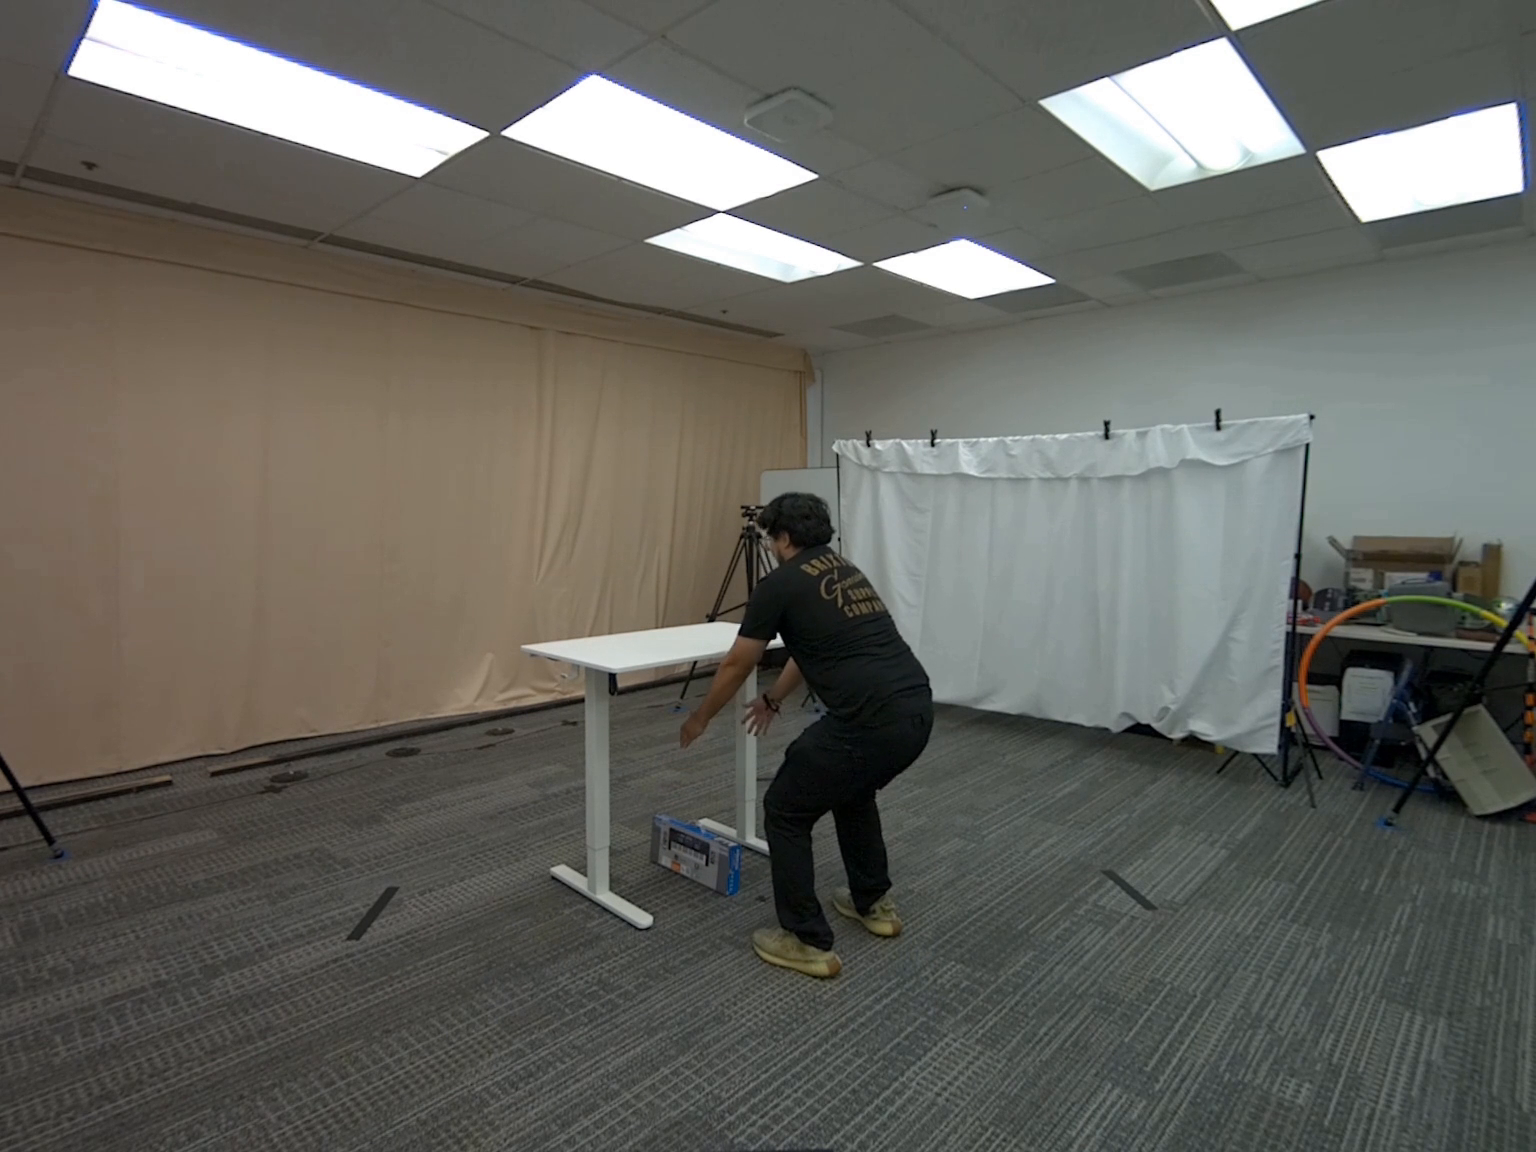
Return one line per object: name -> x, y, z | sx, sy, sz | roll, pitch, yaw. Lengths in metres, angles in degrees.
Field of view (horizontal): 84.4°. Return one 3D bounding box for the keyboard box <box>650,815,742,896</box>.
keyboard box -> -0.279, 1.043, 3.170 | 0.451, 0.176, 0.057 | 4, 0, 44
